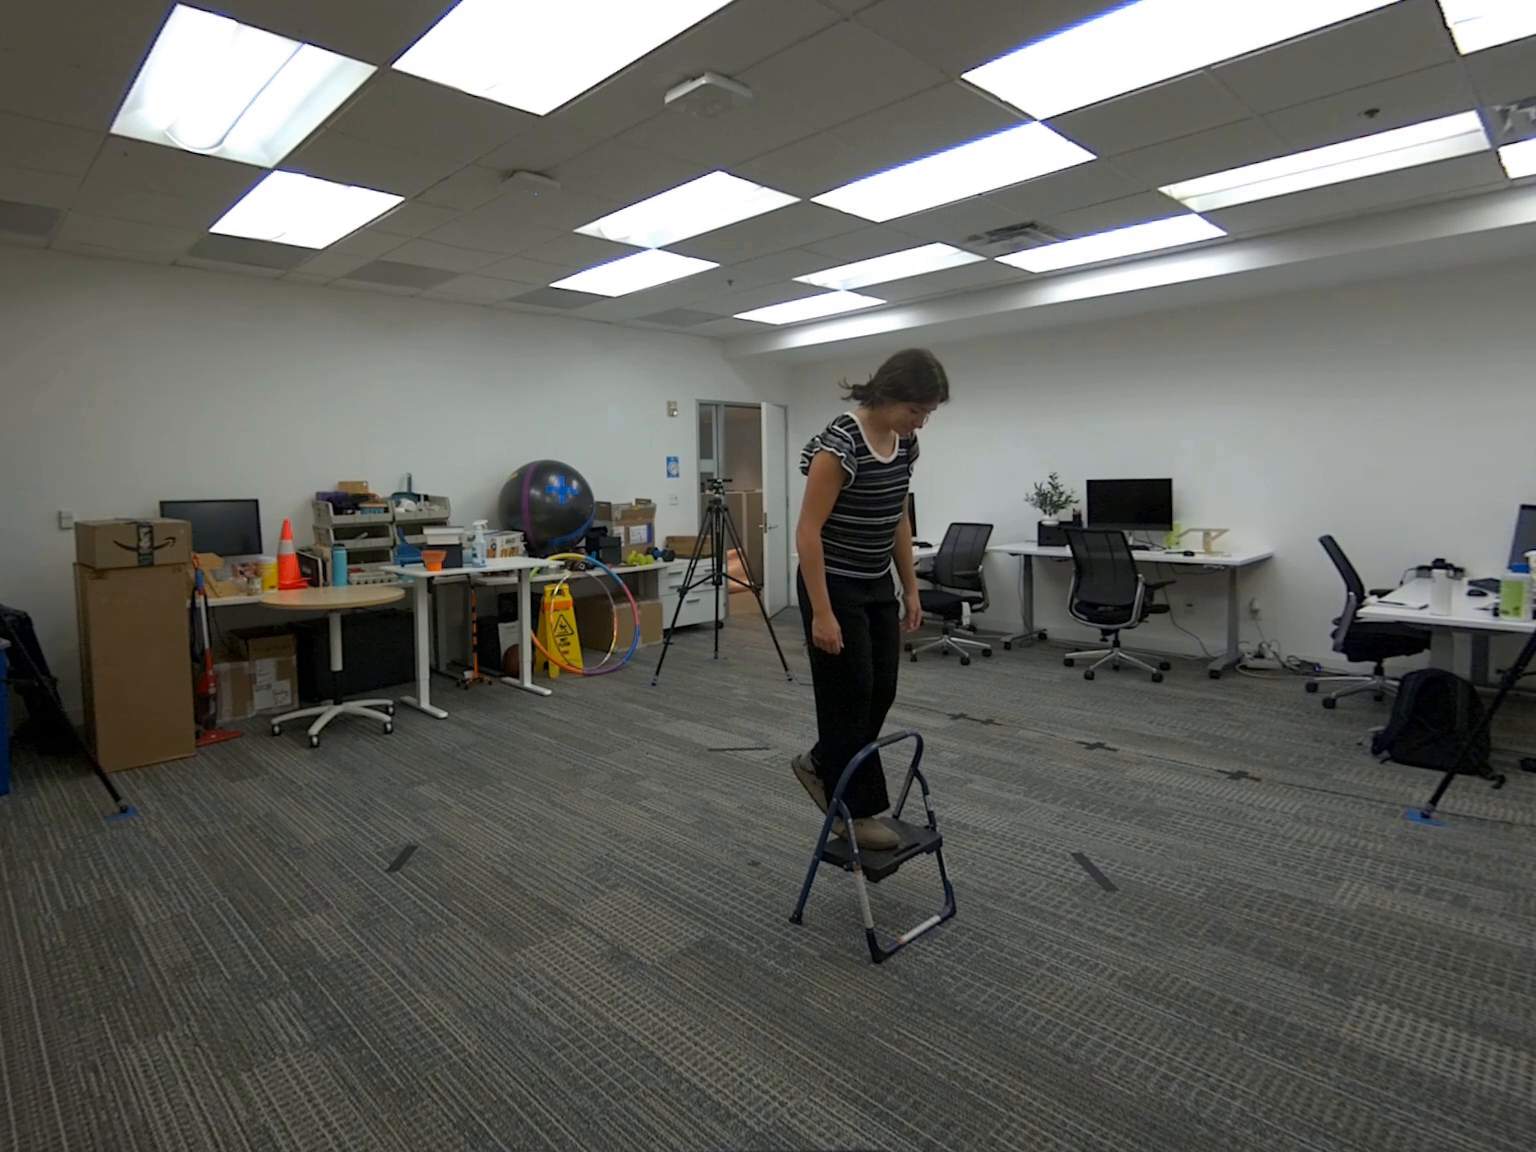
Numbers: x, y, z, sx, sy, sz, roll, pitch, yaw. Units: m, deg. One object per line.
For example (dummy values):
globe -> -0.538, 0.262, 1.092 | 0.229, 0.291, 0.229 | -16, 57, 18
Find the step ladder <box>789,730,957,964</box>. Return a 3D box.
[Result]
step ladder -> 0.336, 0.785, 2.690 | 0.360, 0.604, 0.419 | 4, 6, 45
